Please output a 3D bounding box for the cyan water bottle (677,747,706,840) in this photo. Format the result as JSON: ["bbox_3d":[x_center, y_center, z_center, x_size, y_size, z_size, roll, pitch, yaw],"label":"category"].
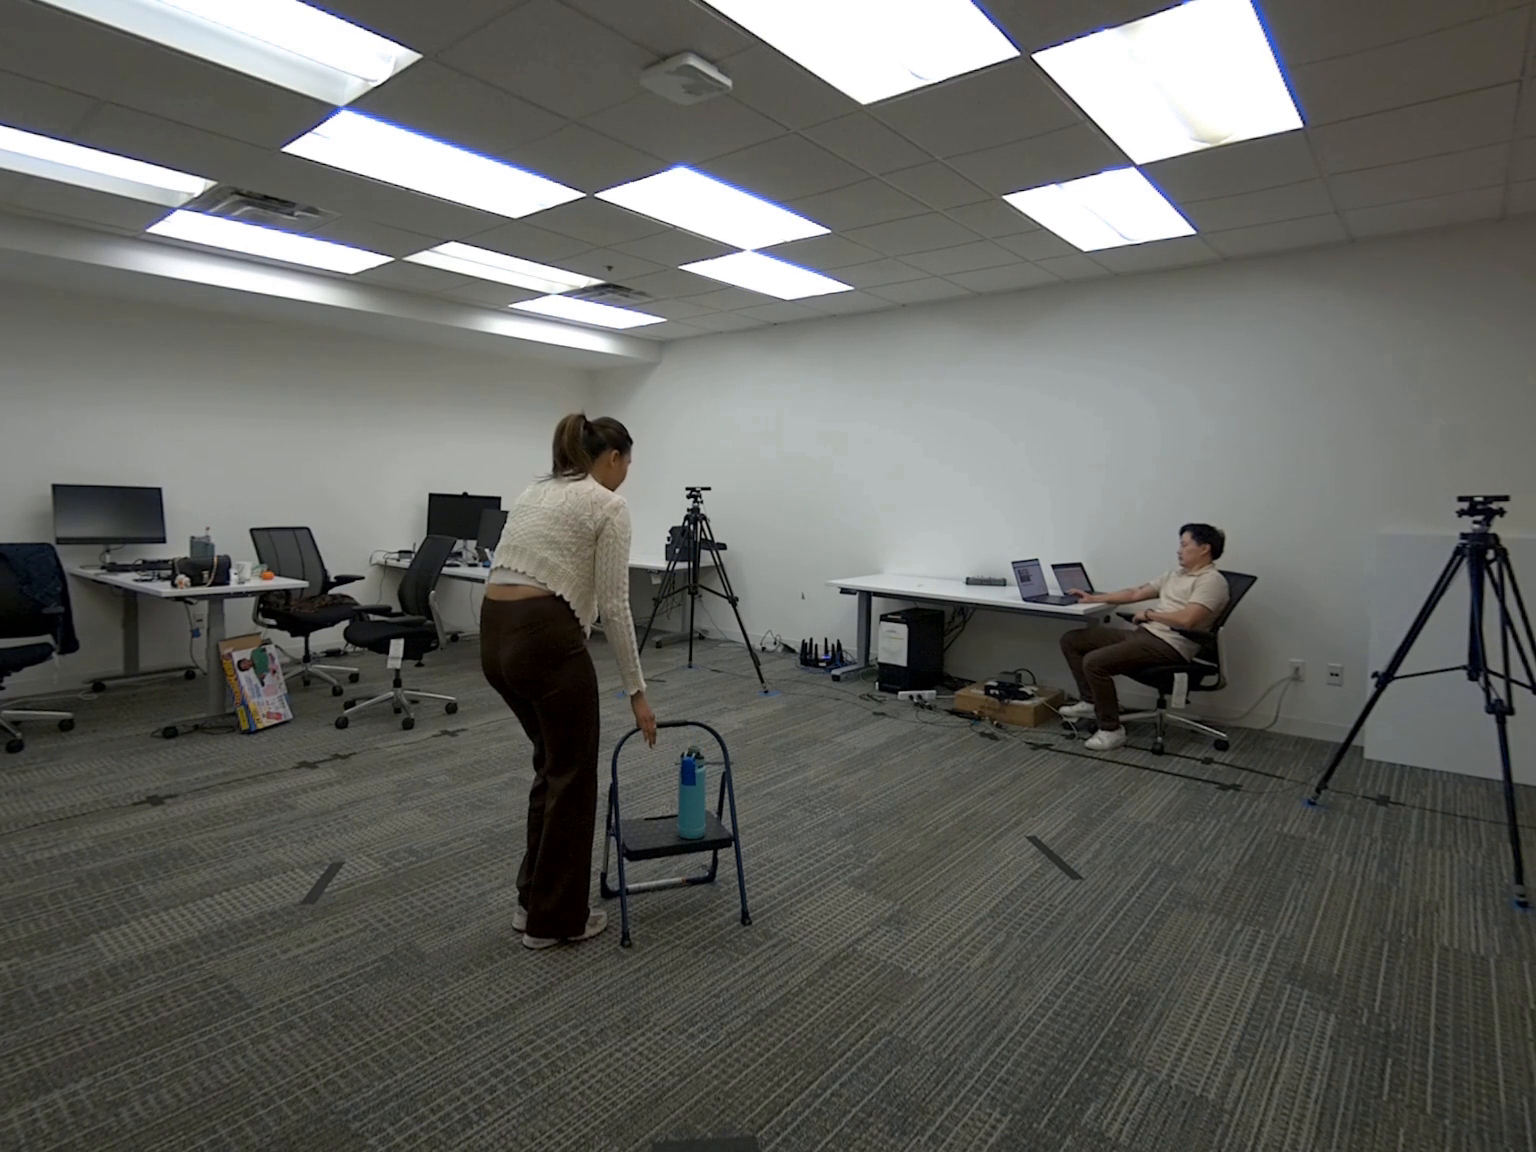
[{"bbox_3d":[-0.258,0.704,2.749,0.092,0.282,0.093,1,5,-2],"label":"cyan water bottle"}]
